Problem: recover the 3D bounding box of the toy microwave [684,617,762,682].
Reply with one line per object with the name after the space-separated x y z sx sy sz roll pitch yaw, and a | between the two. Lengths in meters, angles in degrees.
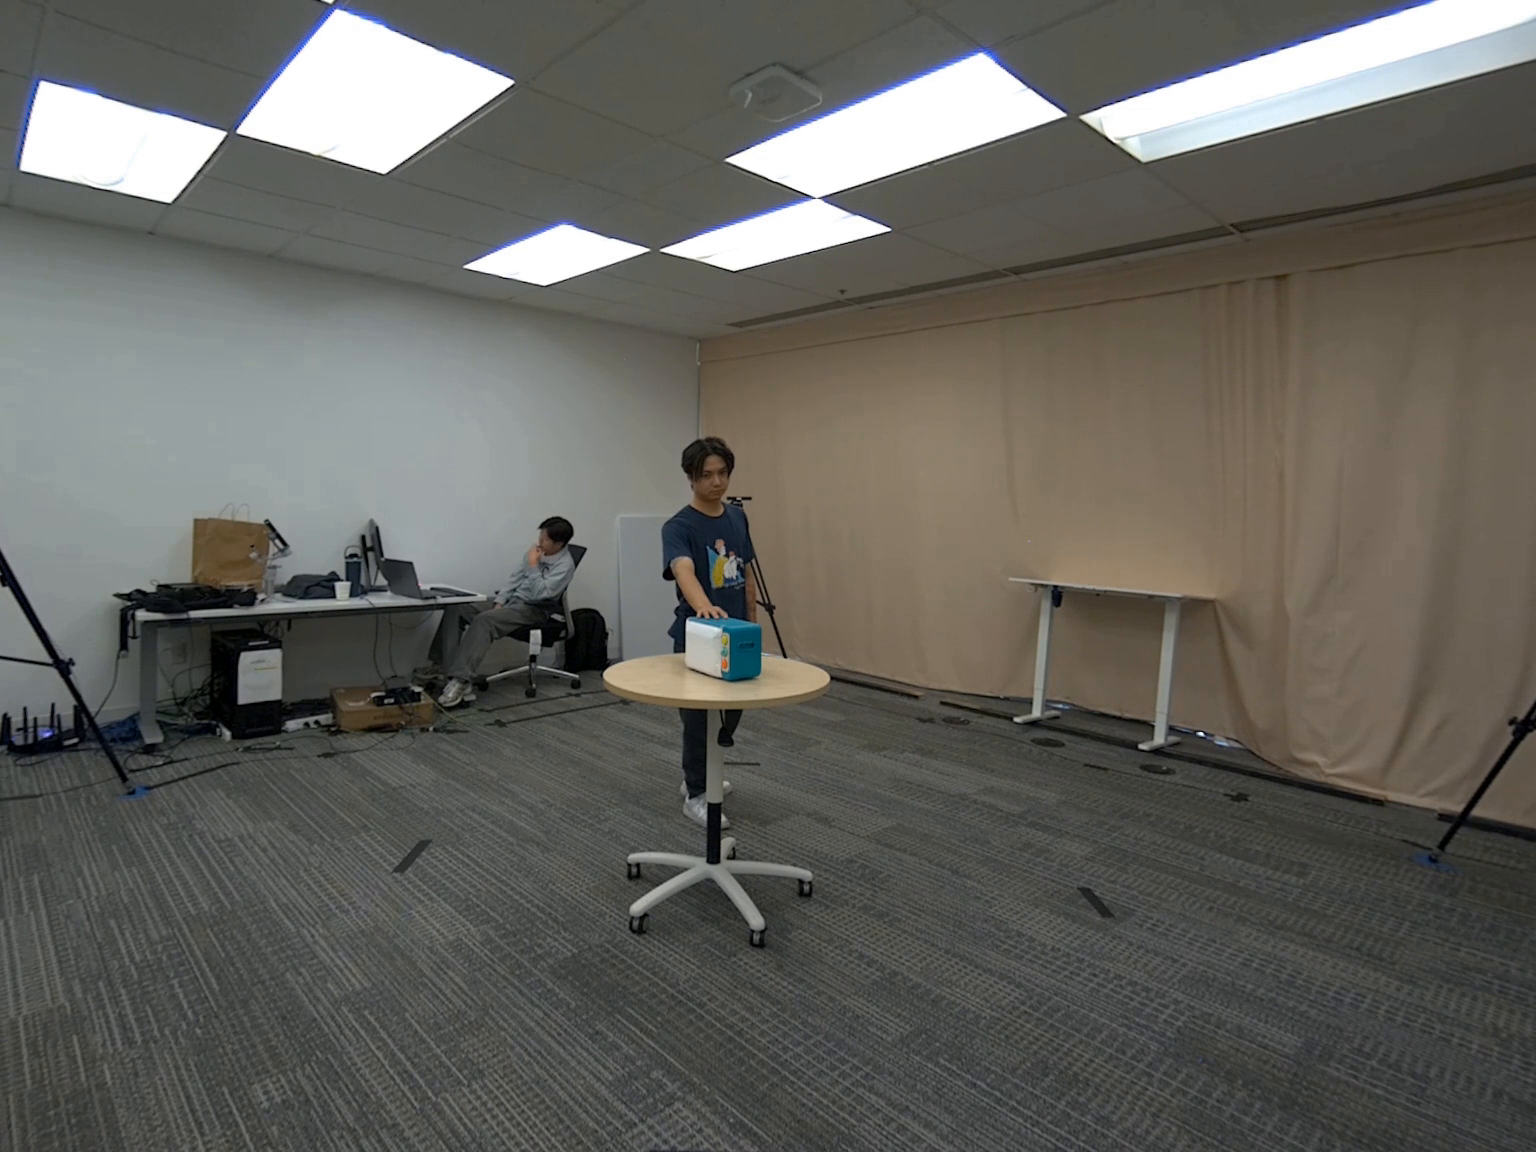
-0.169 0.244 2.843 0.149 0.184 0.293 -2 5 -35 | toy microwave
